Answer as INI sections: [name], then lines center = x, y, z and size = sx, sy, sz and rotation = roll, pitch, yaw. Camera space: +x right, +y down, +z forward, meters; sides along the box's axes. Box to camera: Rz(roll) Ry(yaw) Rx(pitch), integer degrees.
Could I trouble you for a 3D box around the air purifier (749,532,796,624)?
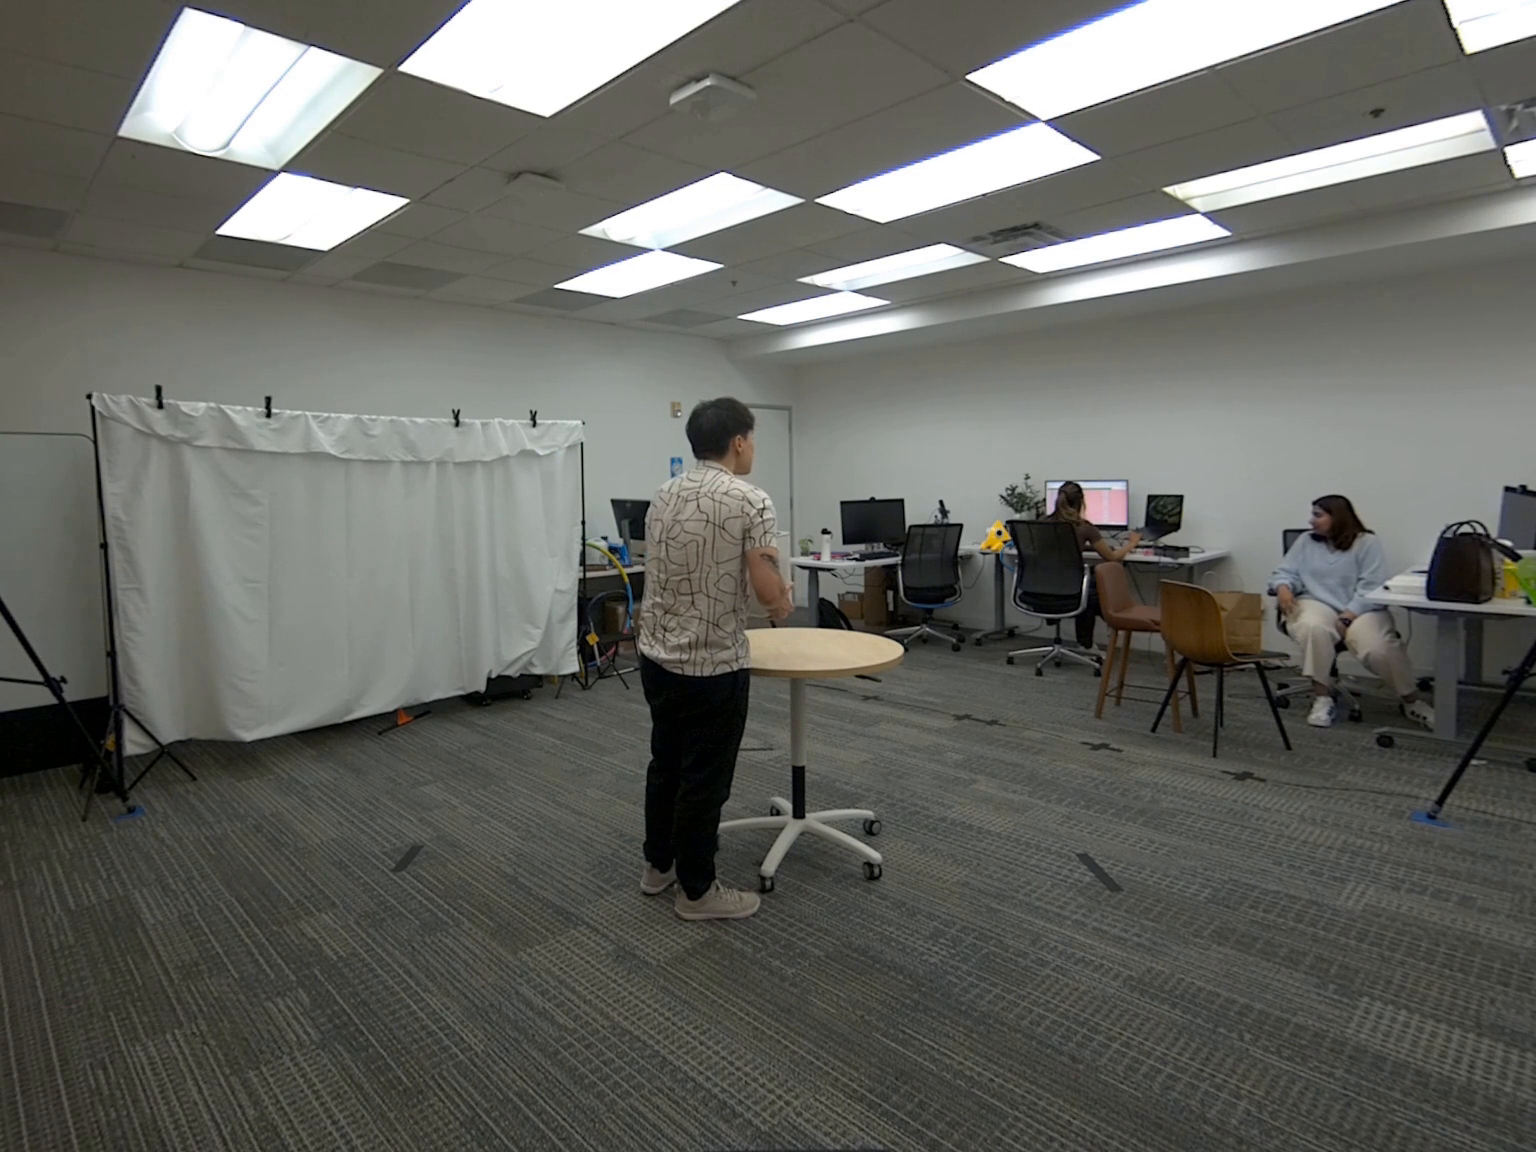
[air purifier]
center = -0.019, -0.006, 2.856
size = 0.176, 0.263, 0.168
rotation = 4, 13, 40
